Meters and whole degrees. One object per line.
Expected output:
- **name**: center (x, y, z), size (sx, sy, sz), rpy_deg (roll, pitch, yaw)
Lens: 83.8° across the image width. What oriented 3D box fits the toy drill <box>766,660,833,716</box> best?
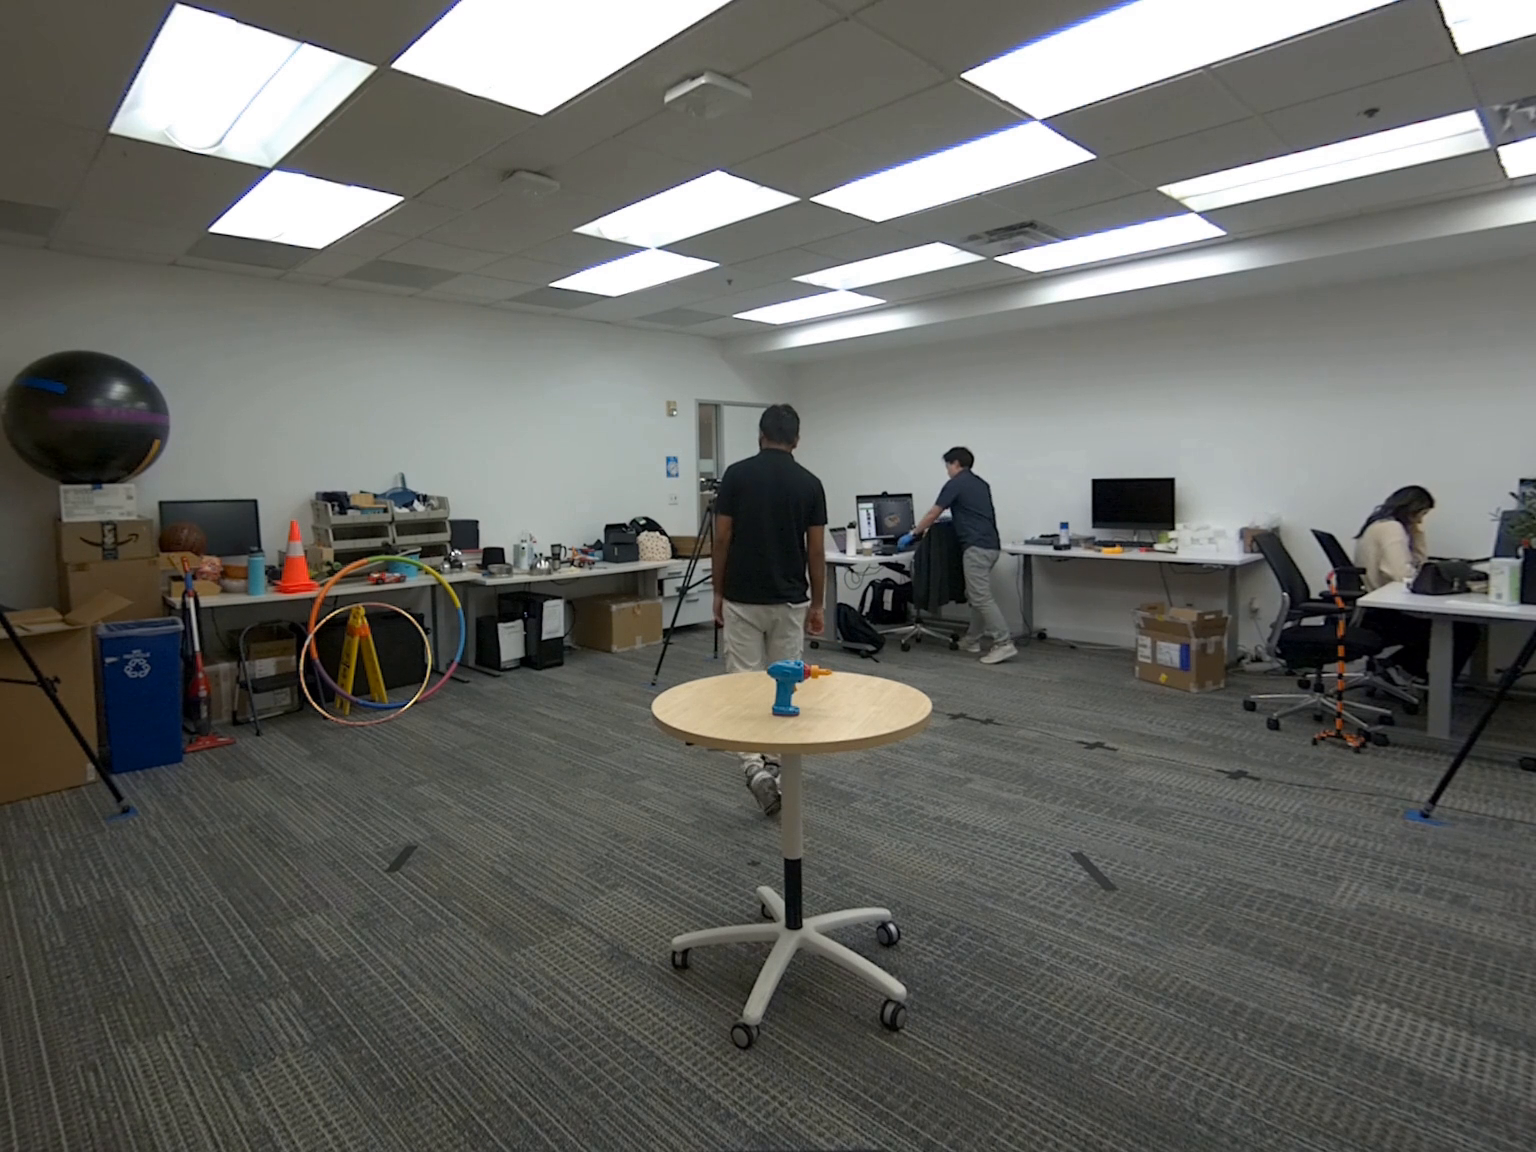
- **toy drill**: center (0.094, 0.290, 2.219), size (0.170, 0.145, 0.061), rpy_deg (-1, 3, 5)
